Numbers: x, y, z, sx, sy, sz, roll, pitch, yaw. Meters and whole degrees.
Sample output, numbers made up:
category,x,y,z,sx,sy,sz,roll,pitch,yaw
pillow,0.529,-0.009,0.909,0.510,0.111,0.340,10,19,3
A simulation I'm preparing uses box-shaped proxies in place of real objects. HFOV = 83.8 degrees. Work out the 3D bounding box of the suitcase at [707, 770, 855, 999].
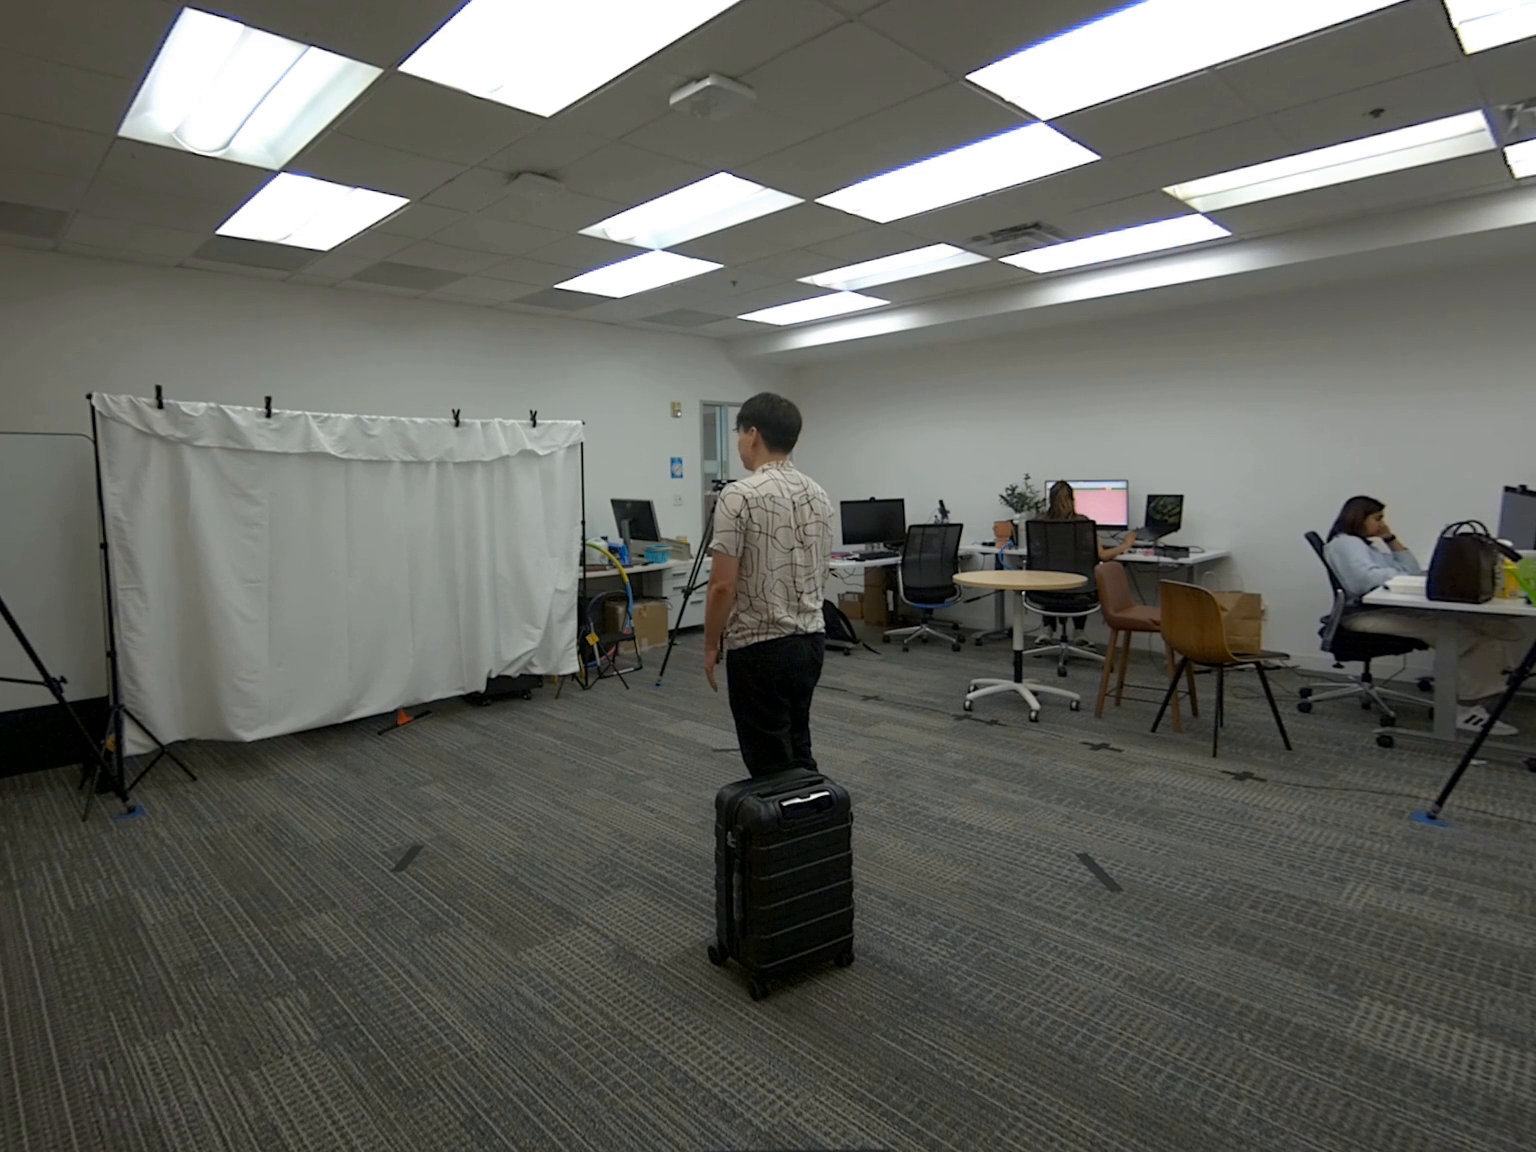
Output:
category,x,y,z,sx,sy,sz,roll,pitch,yaw
suitcase,0.044,0.848,2.439,0.366,0.547,0.255,-4,6,-31
